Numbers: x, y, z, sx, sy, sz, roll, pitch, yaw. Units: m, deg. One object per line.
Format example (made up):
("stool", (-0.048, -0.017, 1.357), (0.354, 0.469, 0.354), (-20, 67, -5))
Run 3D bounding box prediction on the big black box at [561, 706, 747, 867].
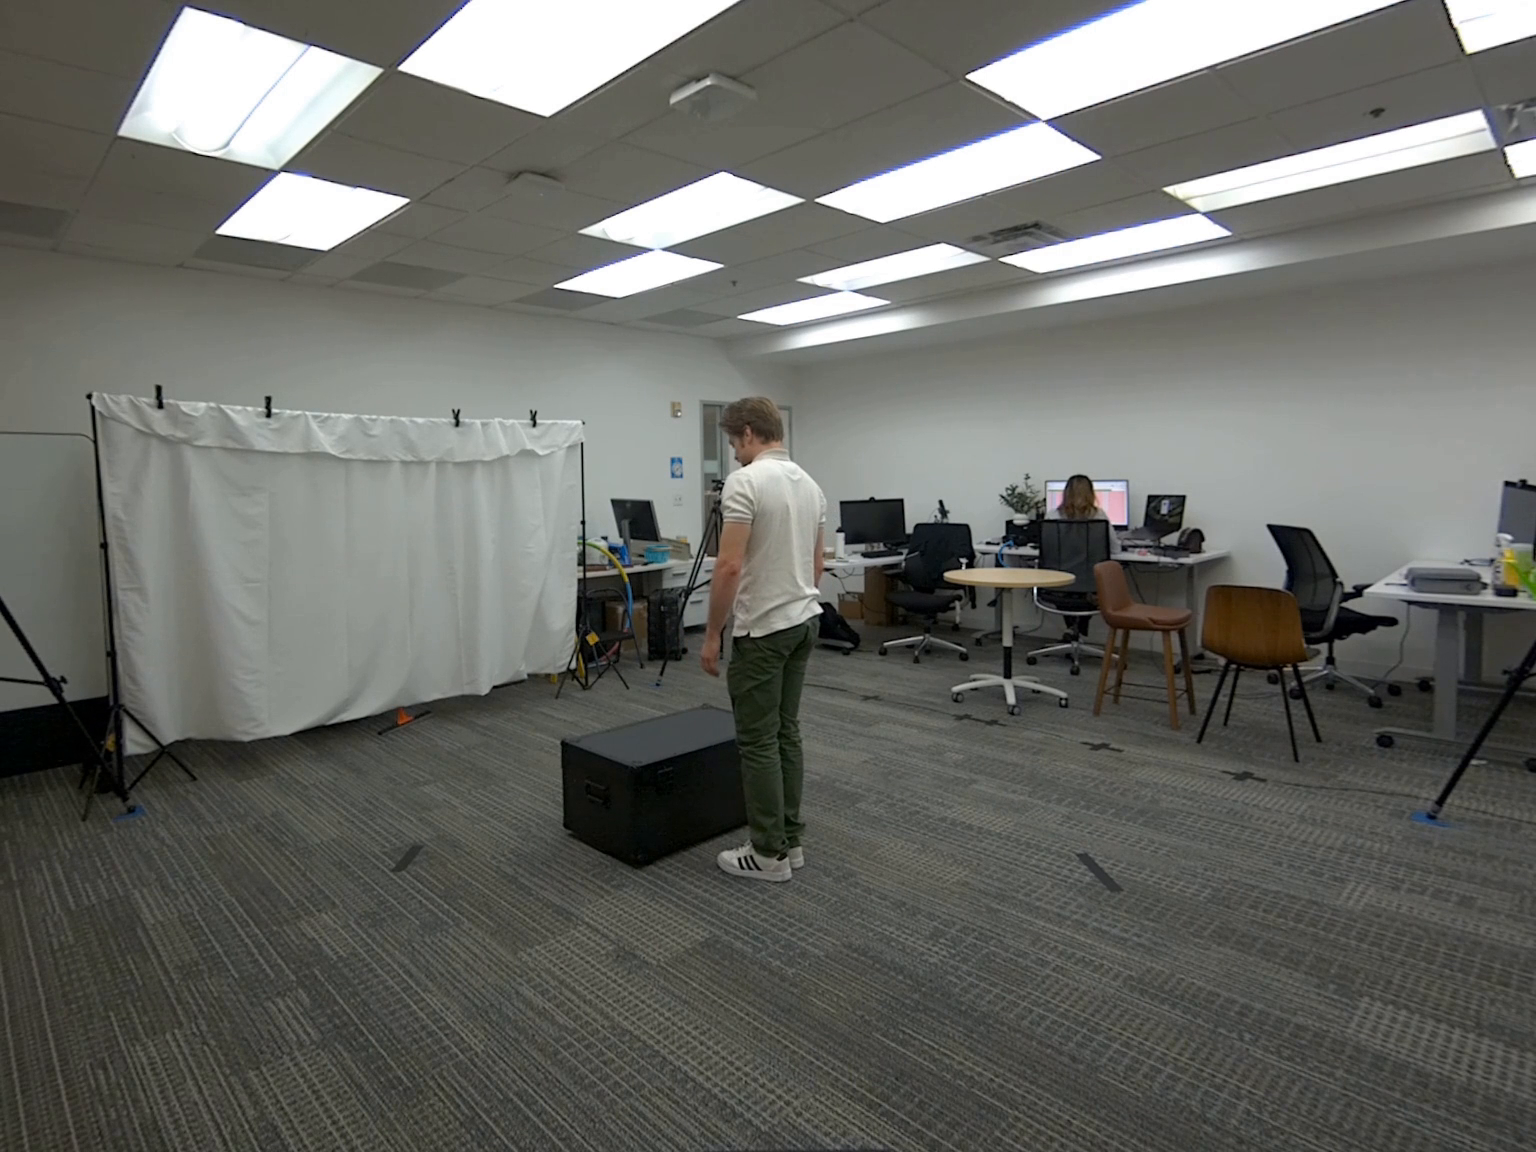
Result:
("big black box", (-0.347, 0.813, 3.507), (0.845, 0.384, 0.539), (-6, 6, -44))
